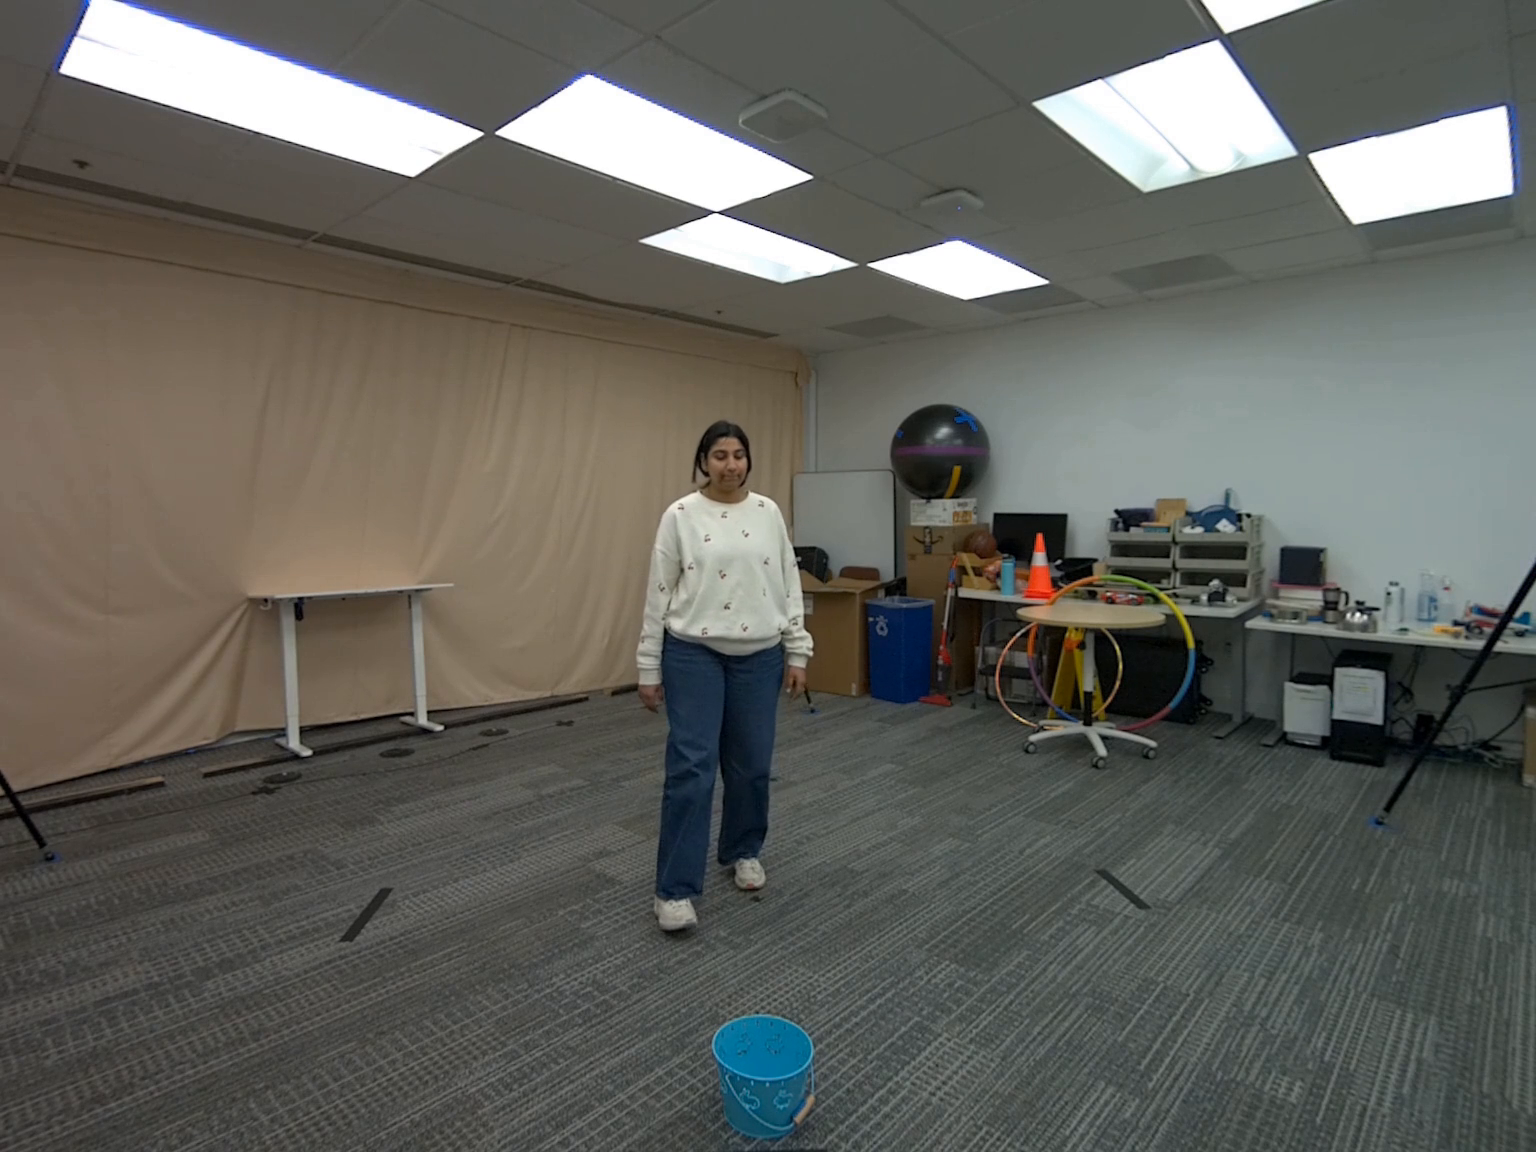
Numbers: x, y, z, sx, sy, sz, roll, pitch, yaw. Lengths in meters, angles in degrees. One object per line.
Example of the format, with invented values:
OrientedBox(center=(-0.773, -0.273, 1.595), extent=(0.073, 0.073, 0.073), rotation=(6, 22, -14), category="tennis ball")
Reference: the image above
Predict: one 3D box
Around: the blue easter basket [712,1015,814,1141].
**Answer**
OrientedBox(center=(-0.010, 1.150, 1.951), extent=(0.243, 0.155, 0.244), rotation=(0, 4, -2), category="blue easter basket")
